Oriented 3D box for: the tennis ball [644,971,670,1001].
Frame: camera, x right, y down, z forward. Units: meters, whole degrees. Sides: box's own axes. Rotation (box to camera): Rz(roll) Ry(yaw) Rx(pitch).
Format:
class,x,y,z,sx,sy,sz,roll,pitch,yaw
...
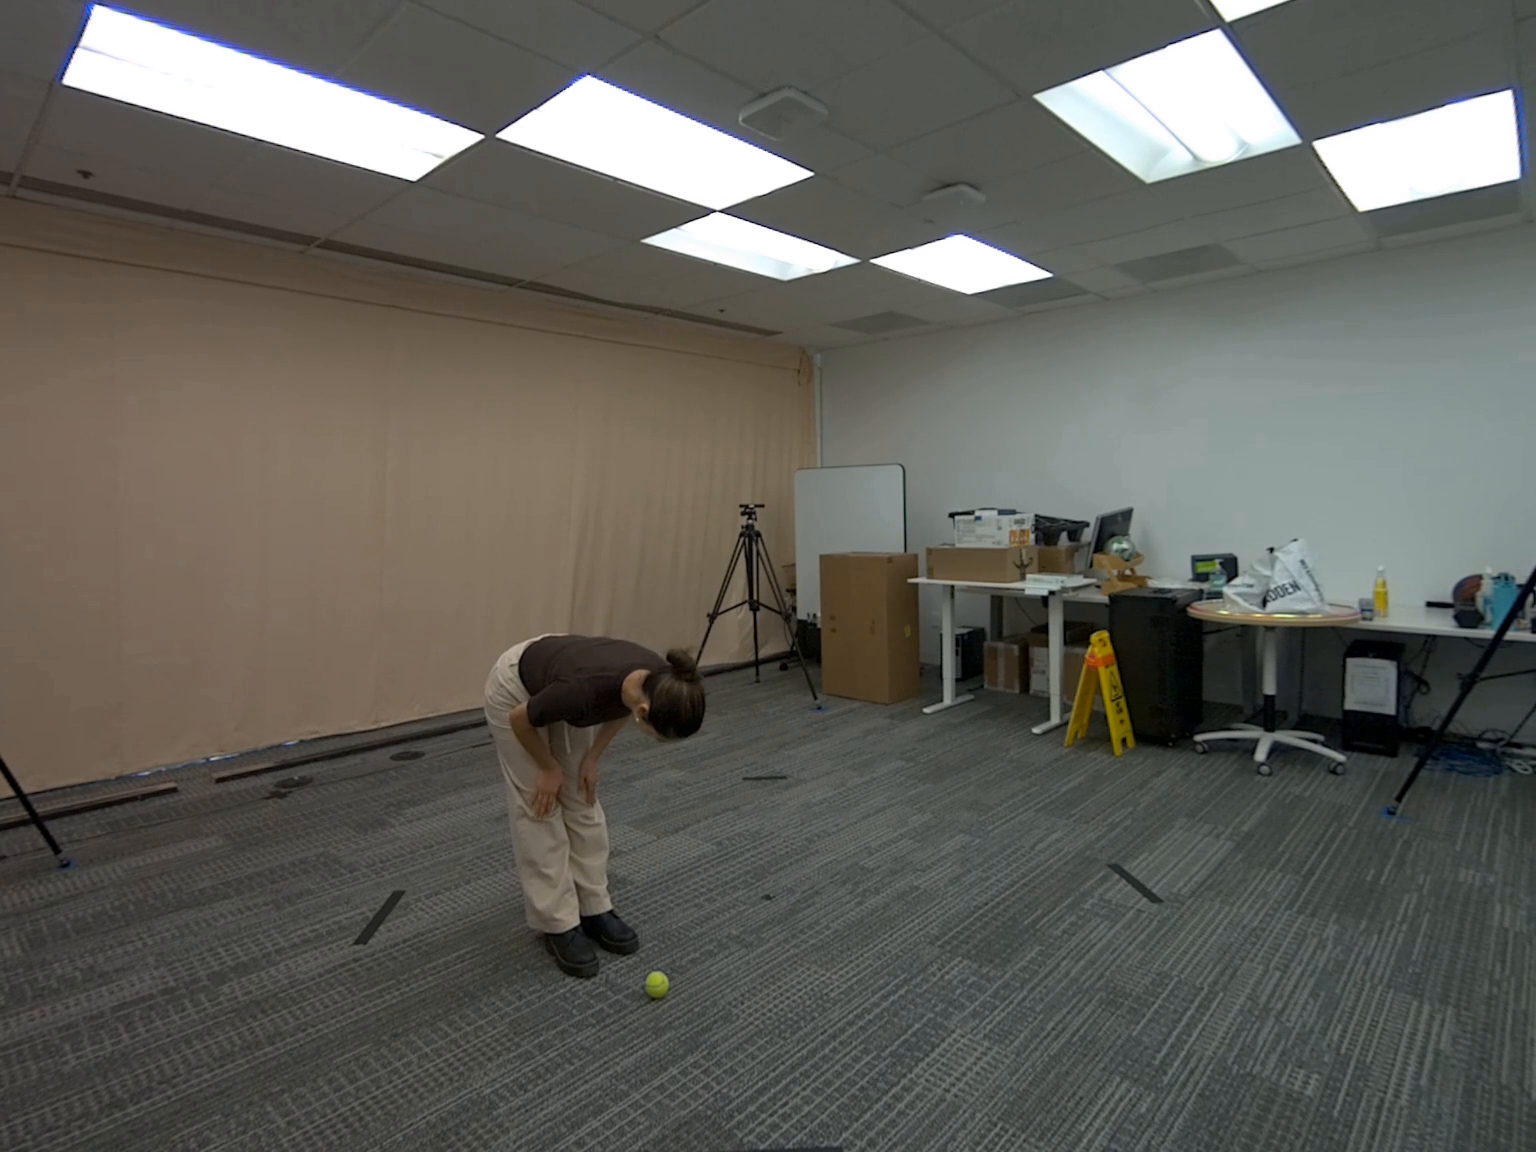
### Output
class,x,y,z,sx,sy,sz,roll,pitch,yaw
tennis ball,-0.314,1.161,2.394,0.066,0.066,0.067,-1,4,-2
